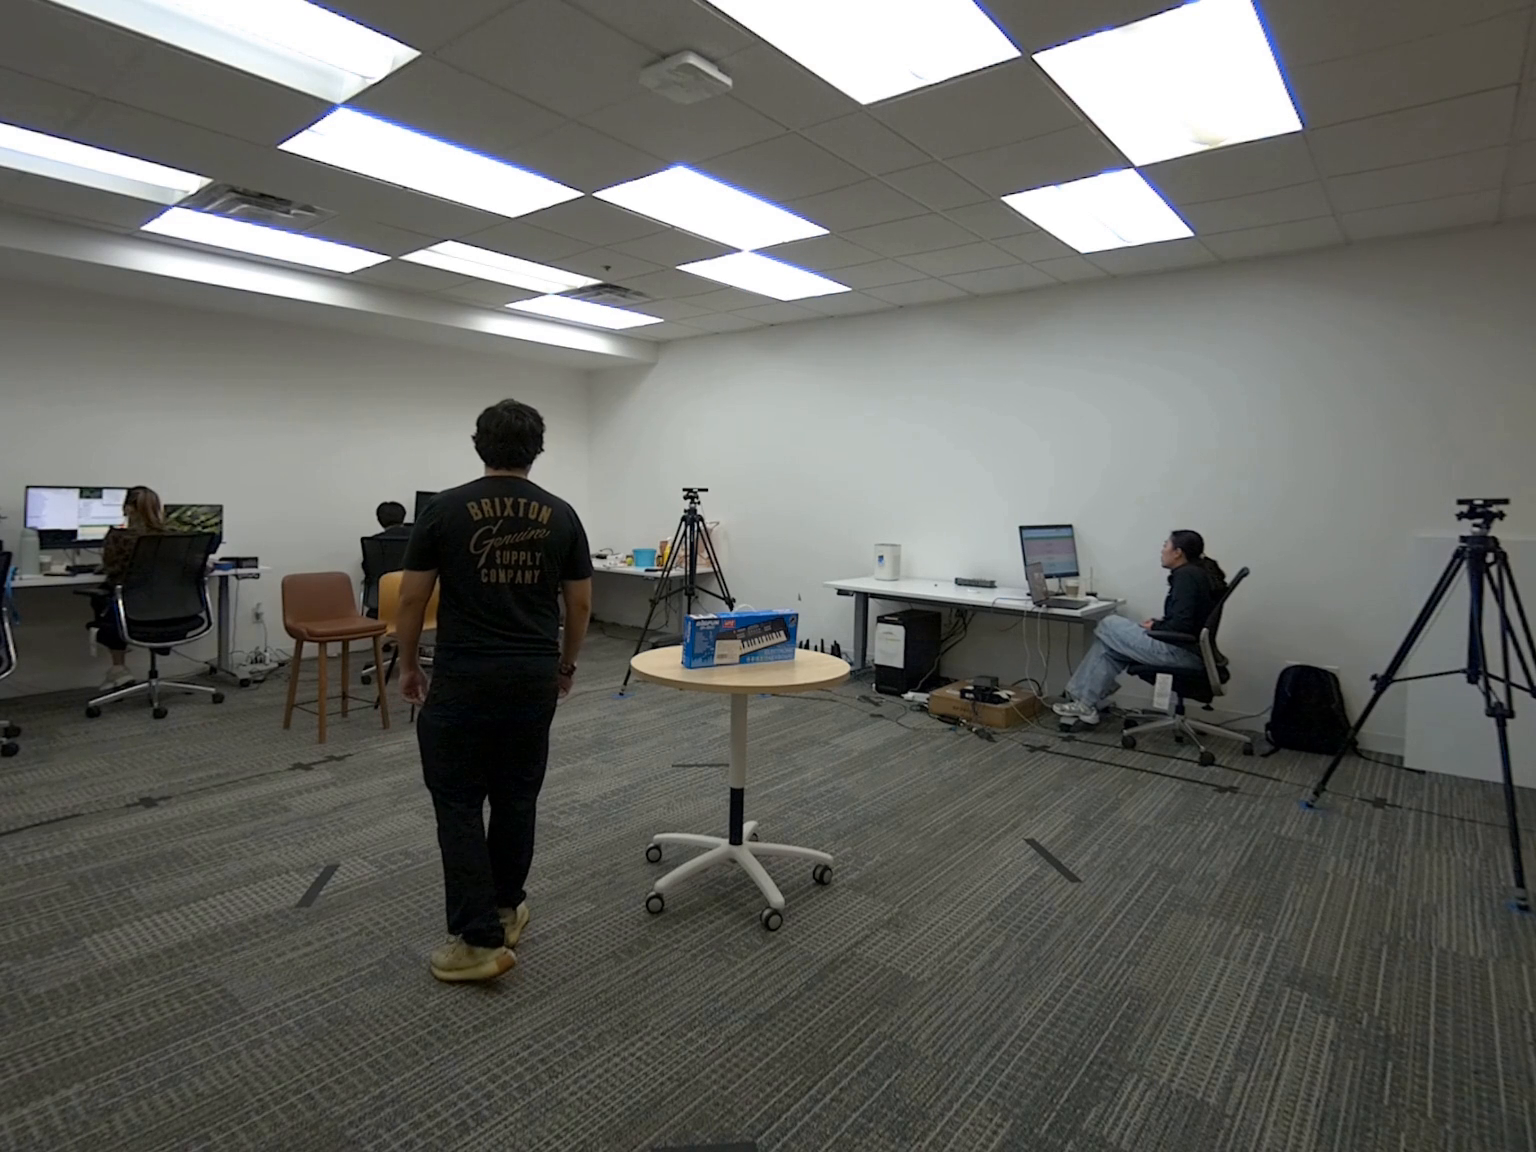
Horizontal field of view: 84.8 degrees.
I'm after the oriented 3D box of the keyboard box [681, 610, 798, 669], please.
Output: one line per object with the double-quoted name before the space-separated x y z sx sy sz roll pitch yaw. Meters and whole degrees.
"keyboard box" -0.099 0.217 2.959 0.425 0.175 0.061 -2 9 -32
